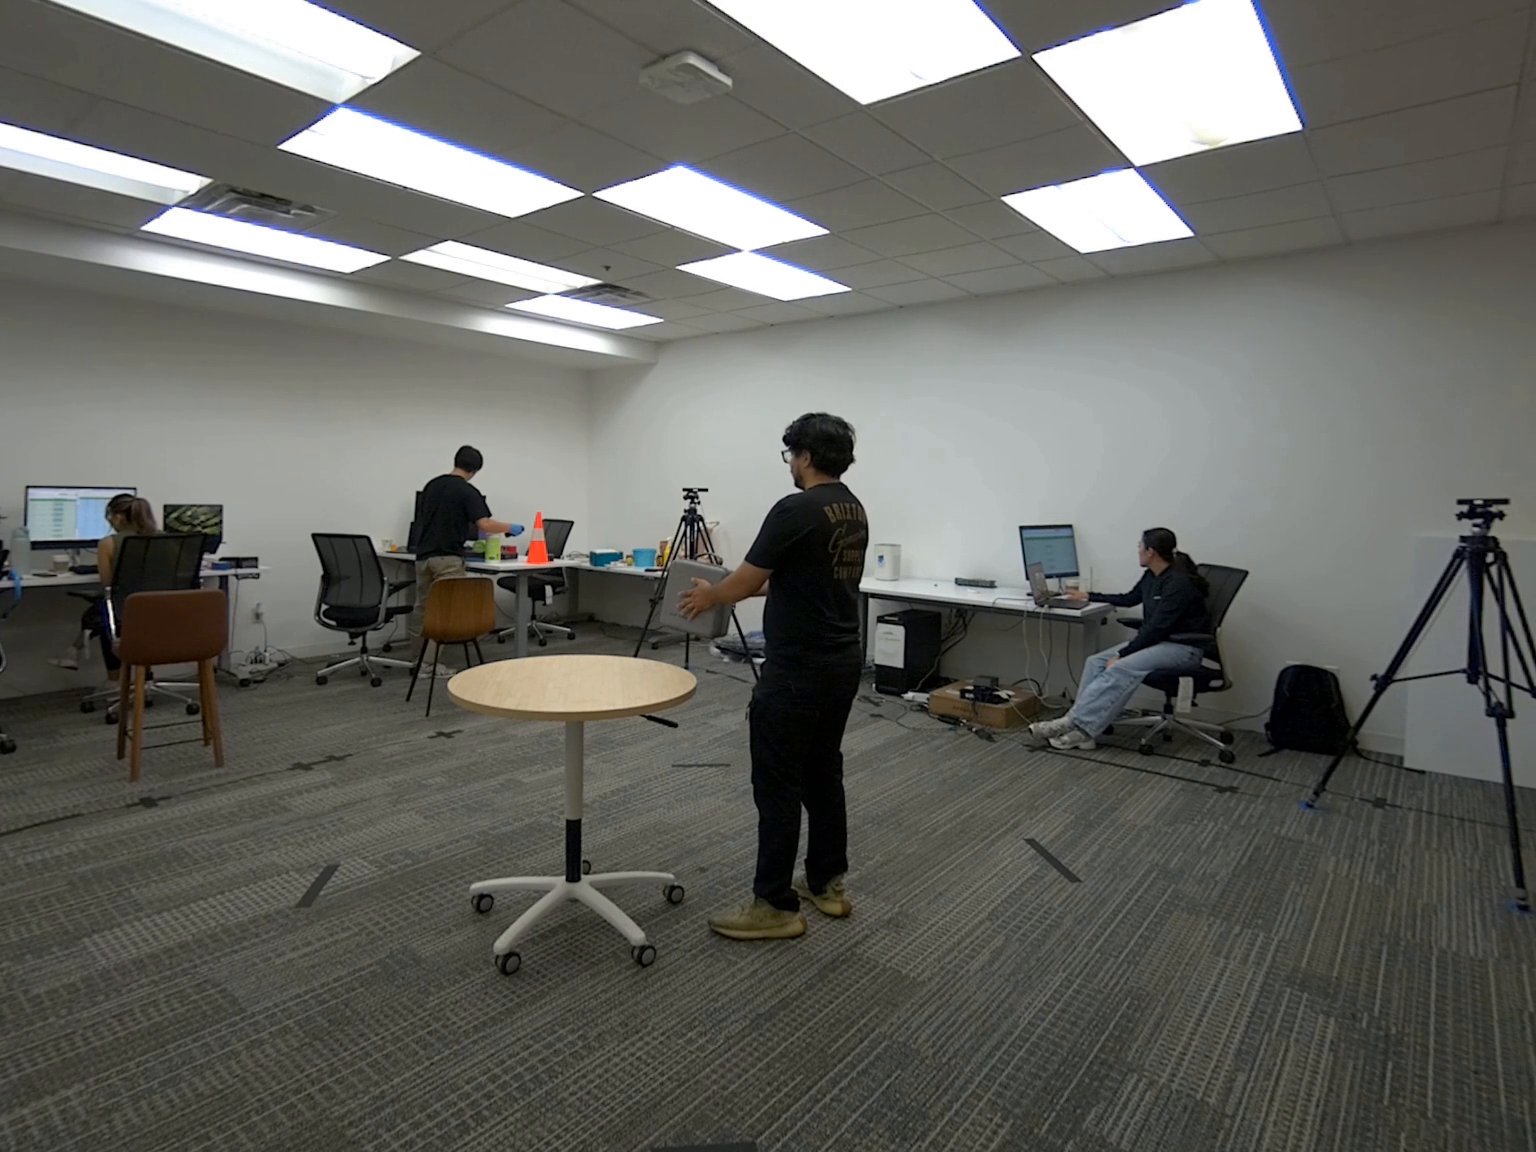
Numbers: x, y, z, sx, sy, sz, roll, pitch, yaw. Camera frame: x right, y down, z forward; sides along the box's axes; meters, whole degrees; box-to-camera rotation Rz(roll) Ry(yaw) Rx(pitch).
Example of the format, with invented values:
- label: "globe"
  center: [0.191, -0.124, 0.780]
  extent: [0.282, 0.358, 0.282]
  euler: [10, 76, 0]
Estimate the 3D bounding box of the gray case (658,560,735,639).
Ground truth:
- label: "gray case"
  center: [-0.265, 0.075, 3.058]
  extent: [0.266, 0.260, 0.101]
  euler: [11, 2, 35]
